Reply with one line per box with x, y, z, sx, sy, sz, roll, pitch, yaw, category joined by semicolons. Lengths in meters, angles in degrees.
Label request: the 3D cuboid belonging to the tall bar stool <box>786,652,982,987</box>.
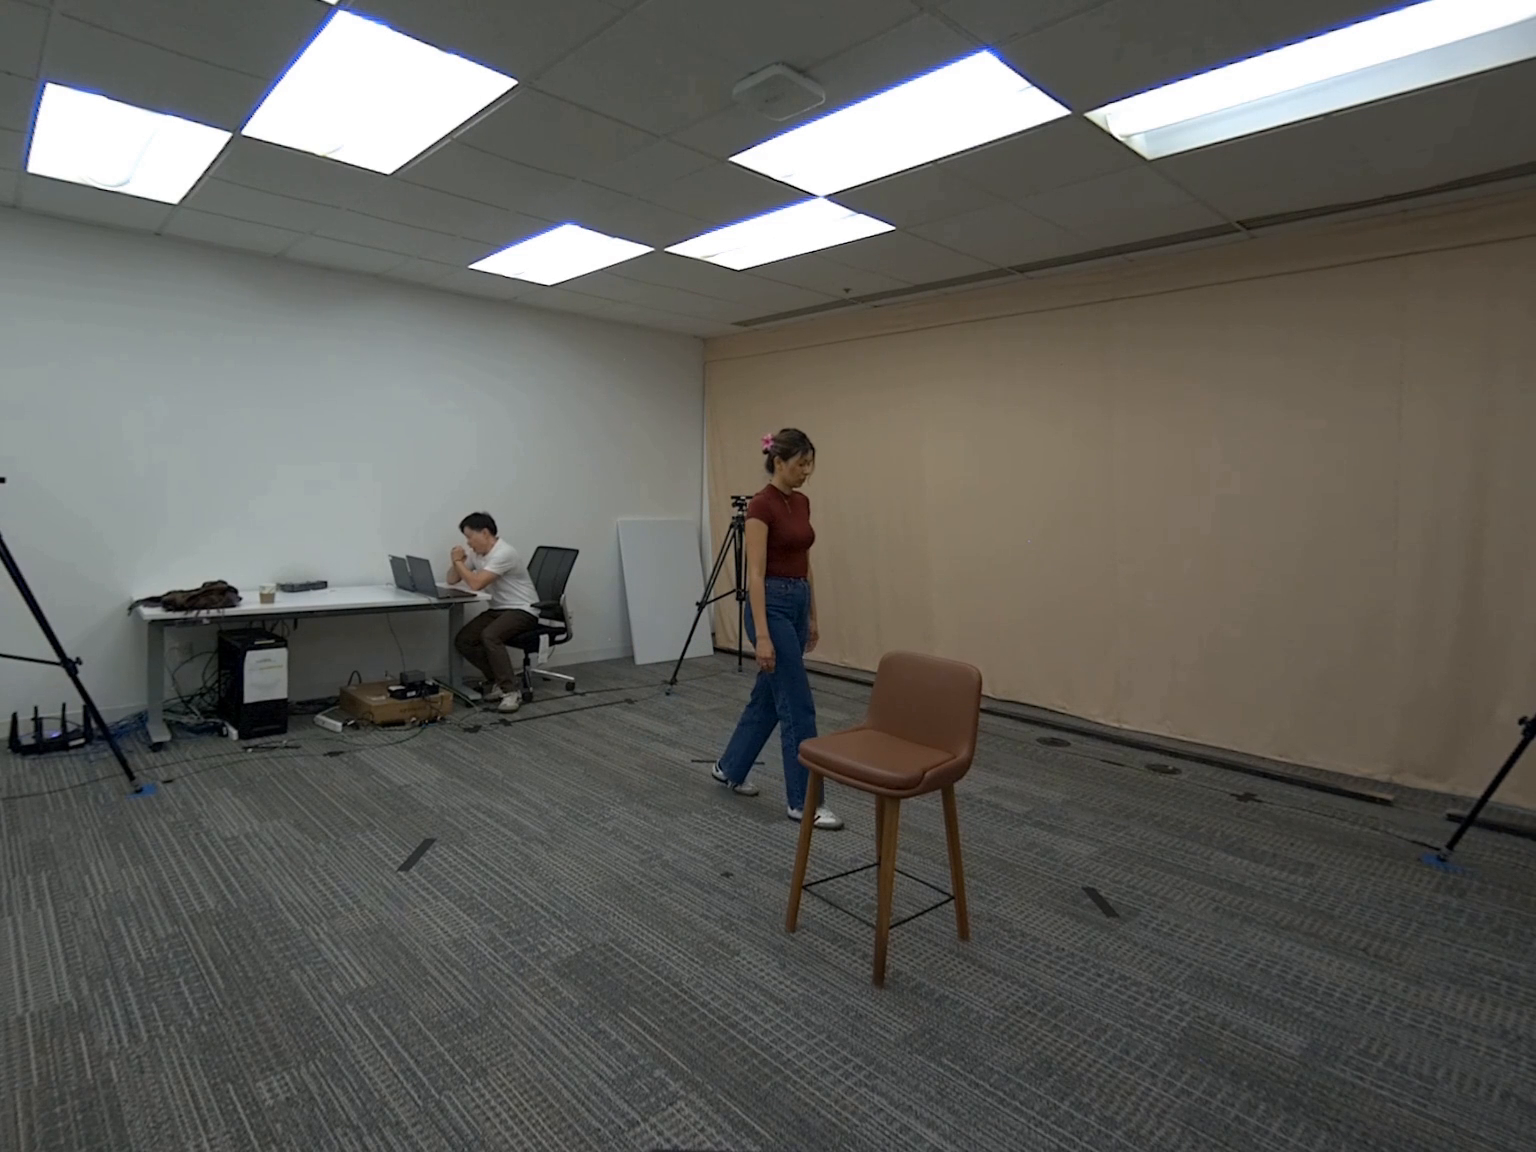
0.374;0.723;2.664;0.457;0.888;0.468;0;4;-40;tall bar stool
